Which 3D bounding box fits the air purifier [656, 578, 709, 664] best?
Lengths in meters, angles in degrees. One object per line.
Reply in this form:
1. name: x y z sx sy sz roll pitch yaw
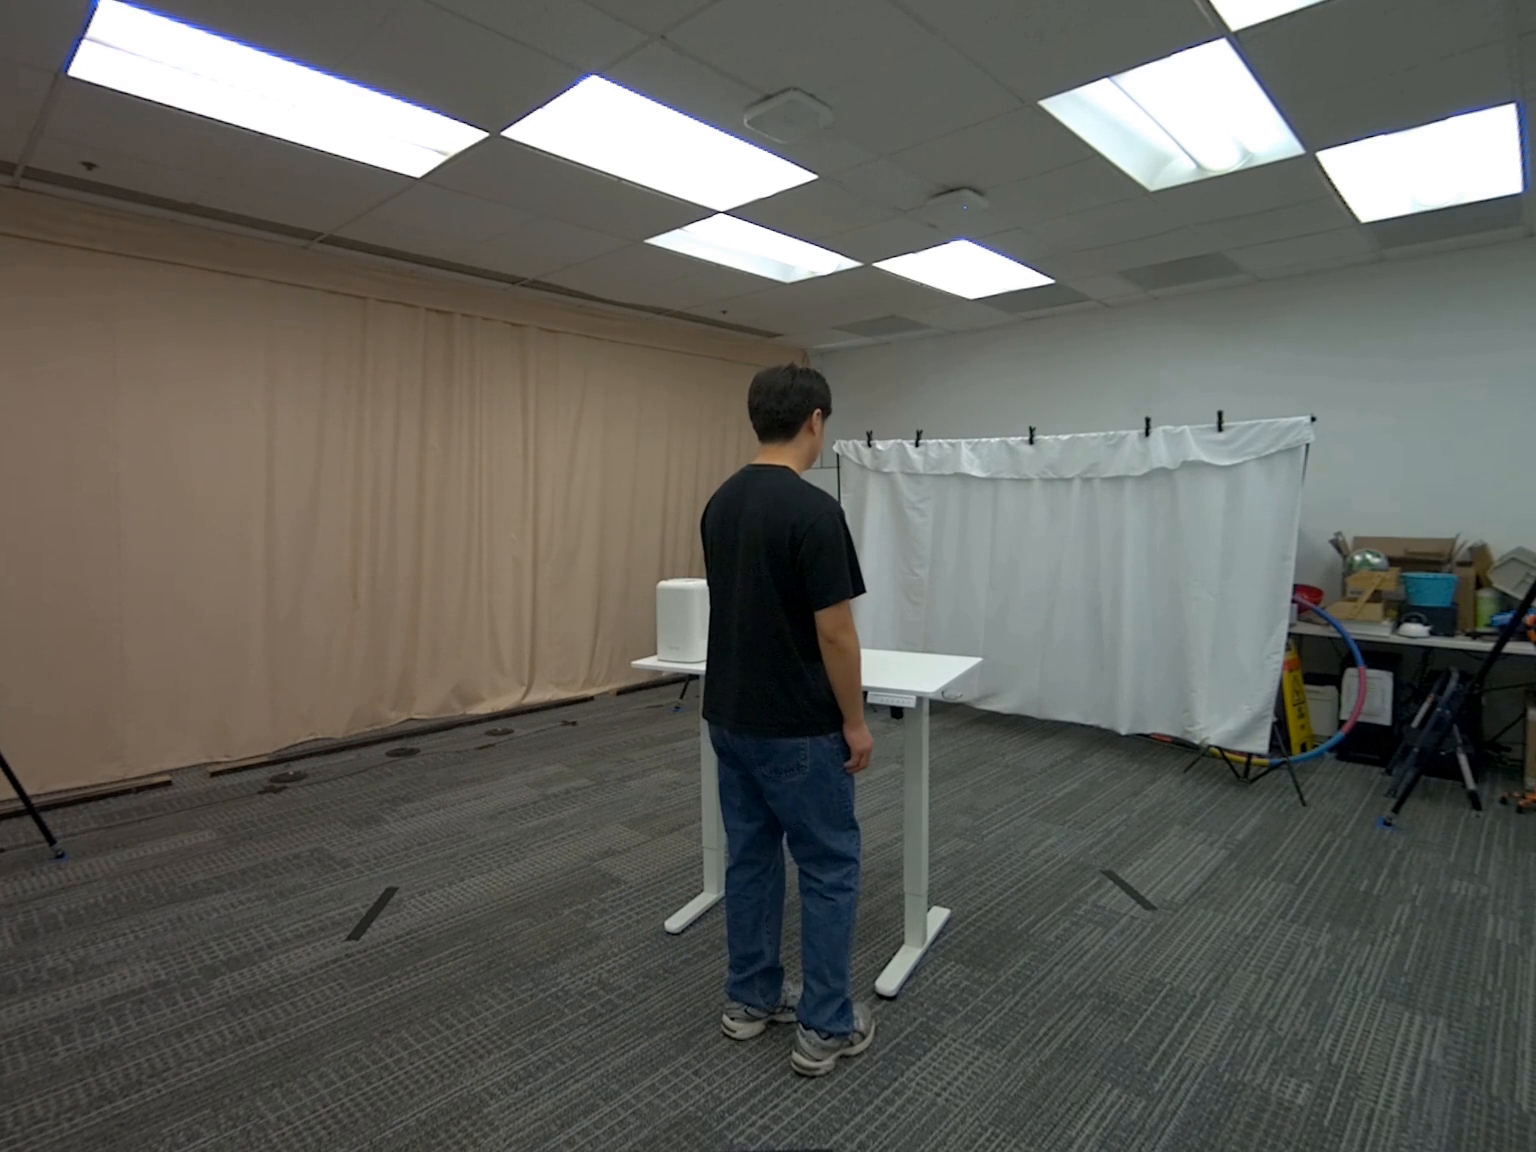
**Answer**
1. air purifier: -0.267 0.147 2.821 0.176 0.265 0.167 1 3 28
